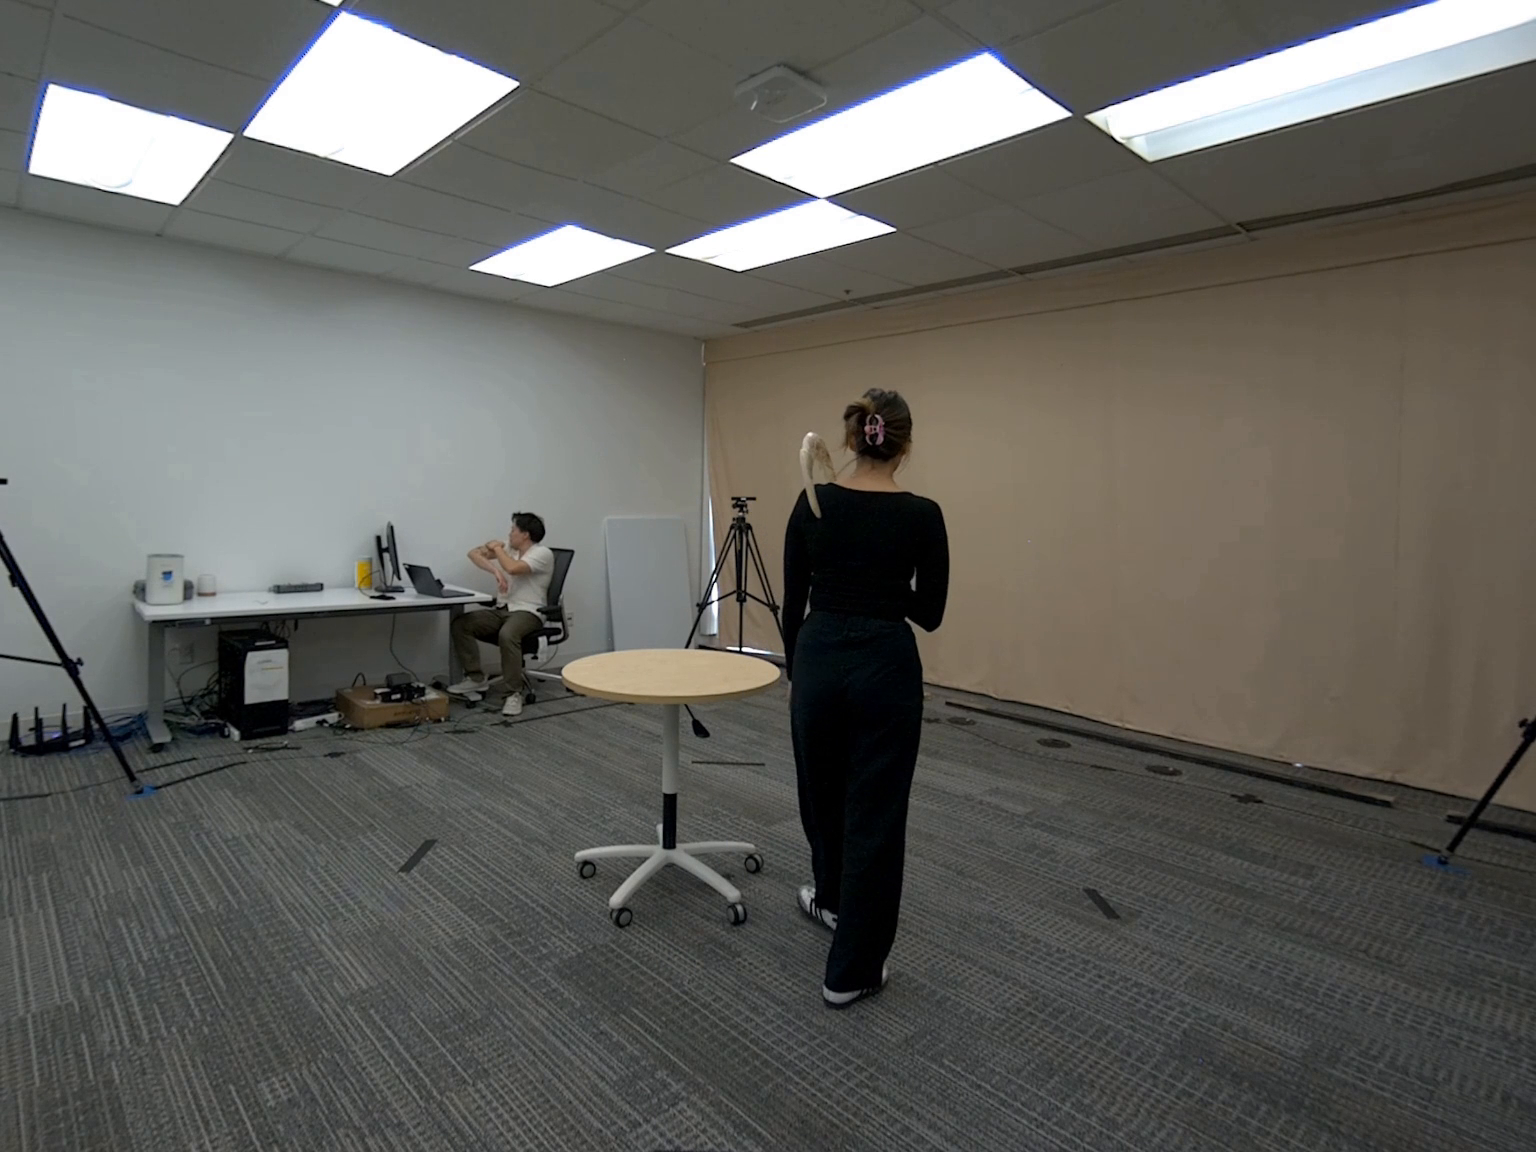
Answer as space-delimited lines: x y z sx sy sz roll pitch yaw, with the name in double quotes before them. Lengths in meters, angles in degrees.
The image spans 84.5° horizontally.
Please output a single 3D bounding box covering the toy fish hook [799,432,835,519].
"toy fish hook" 0.185 -0.173 2.428 0.049 0.493 0.227 -7 35 27
